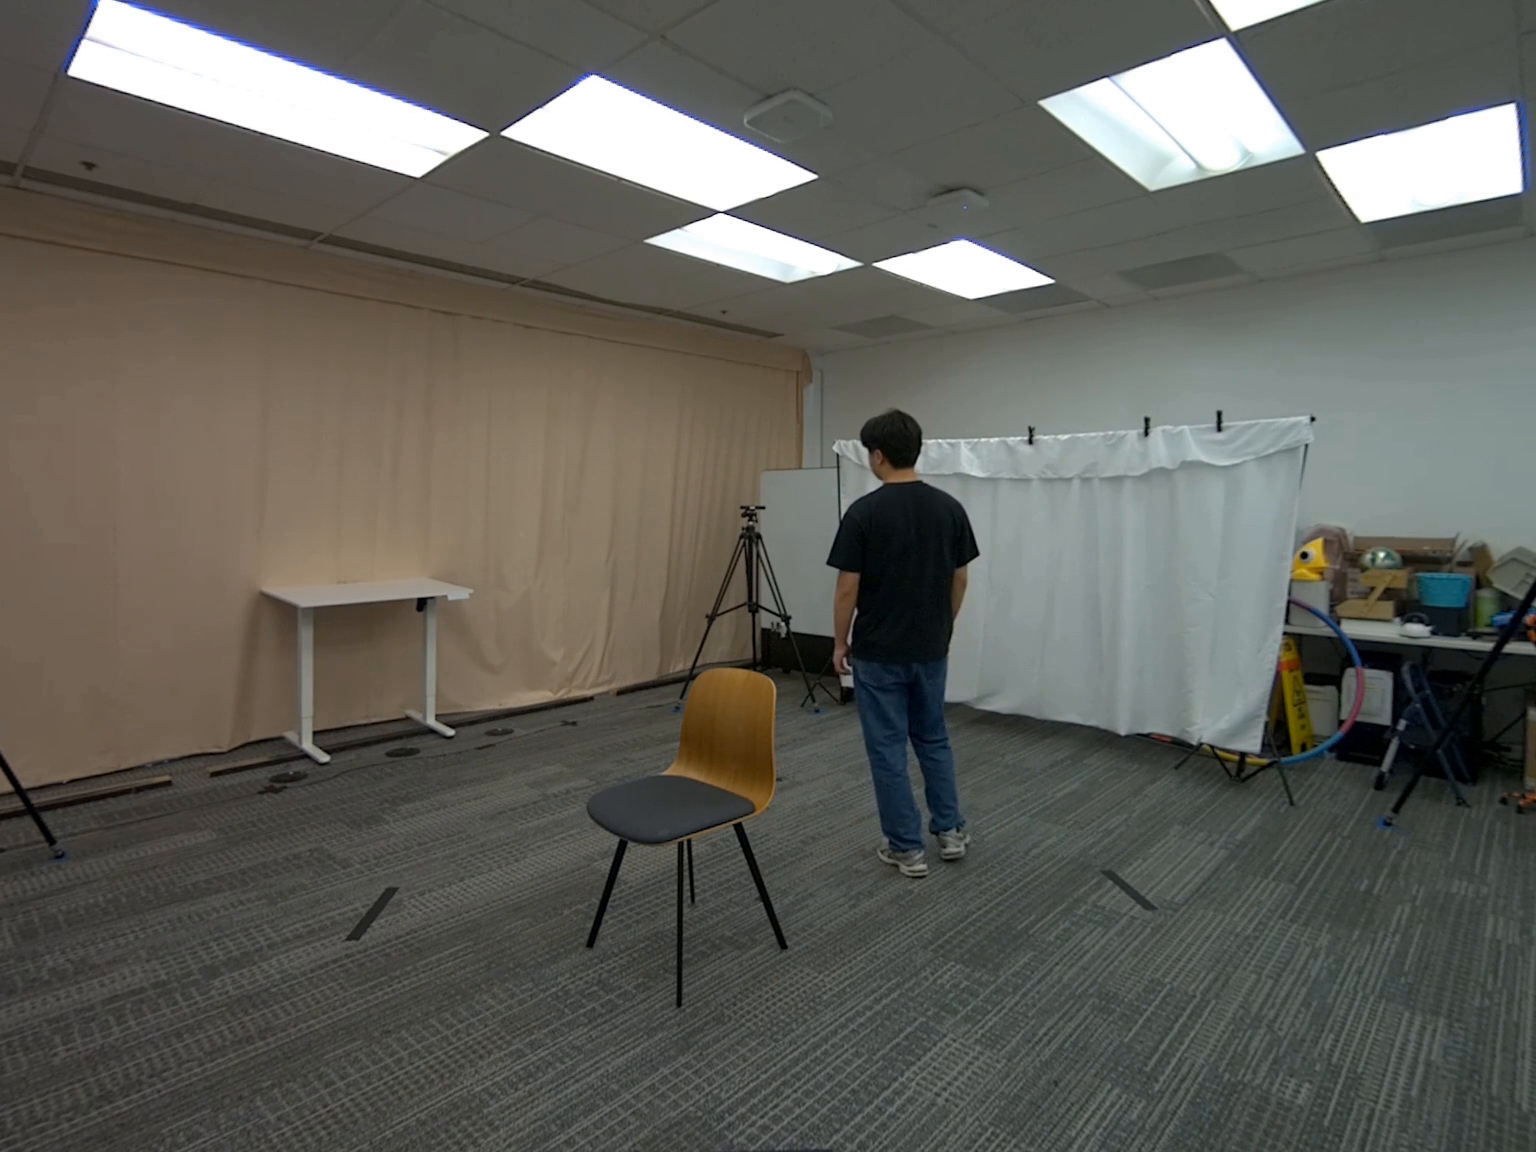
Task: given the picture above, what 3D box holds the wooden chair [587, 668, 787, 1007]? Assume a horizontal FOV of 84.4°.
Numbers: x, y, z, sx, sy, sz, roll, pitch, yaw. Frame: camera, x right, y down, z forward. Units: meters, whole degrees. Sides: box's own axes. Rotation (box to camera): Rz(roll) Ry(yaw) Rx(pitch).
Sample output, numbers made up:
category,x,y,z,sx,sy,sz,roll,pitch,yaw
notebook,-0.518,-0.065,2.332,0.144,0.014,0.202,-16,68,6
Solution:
category,x,y,z,sx,sy,sz,roll,pitch,yaw
wooden chair,-0.258,0.748,2.619,0.506,0.877,0.494,2,1,-45
